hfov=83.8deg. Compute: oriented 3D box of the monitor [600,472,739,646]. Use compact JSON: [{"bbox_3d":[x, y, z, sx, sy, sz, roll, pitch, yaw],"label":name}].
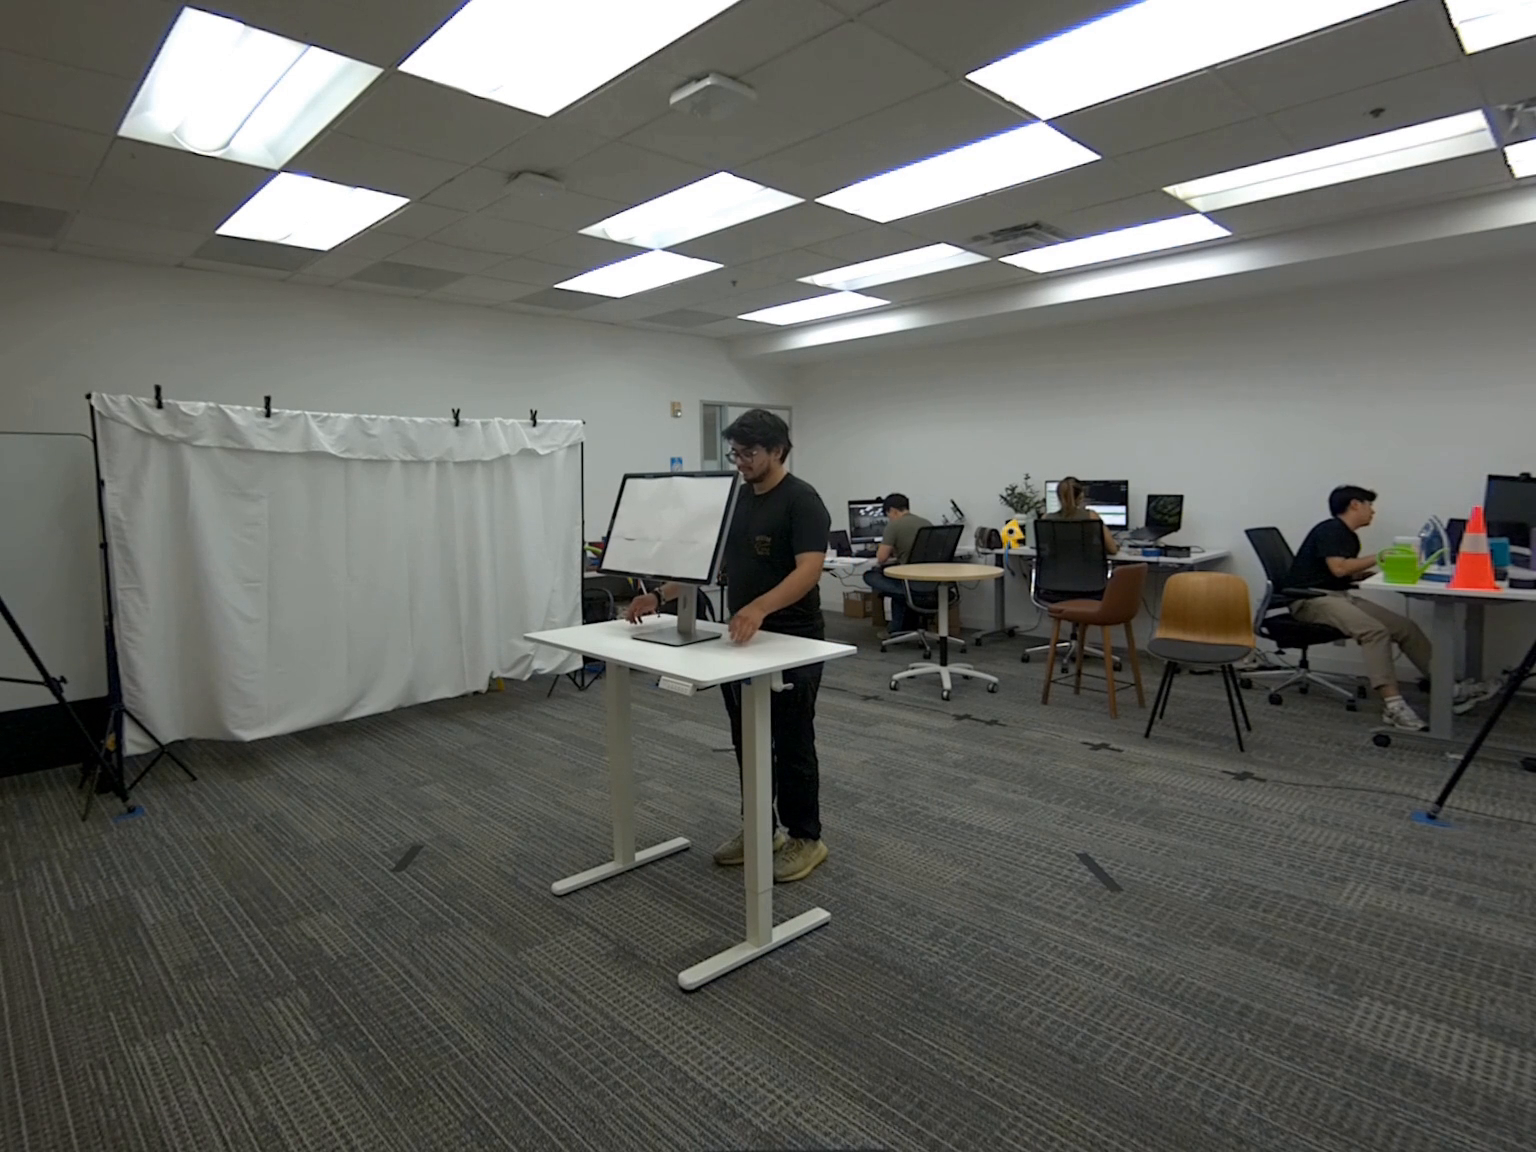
[{"bbox_3d":[-0.287,-0.065,2.803,0.583,0.556,0.203,3,-5,43],"label":"monitor"}]
